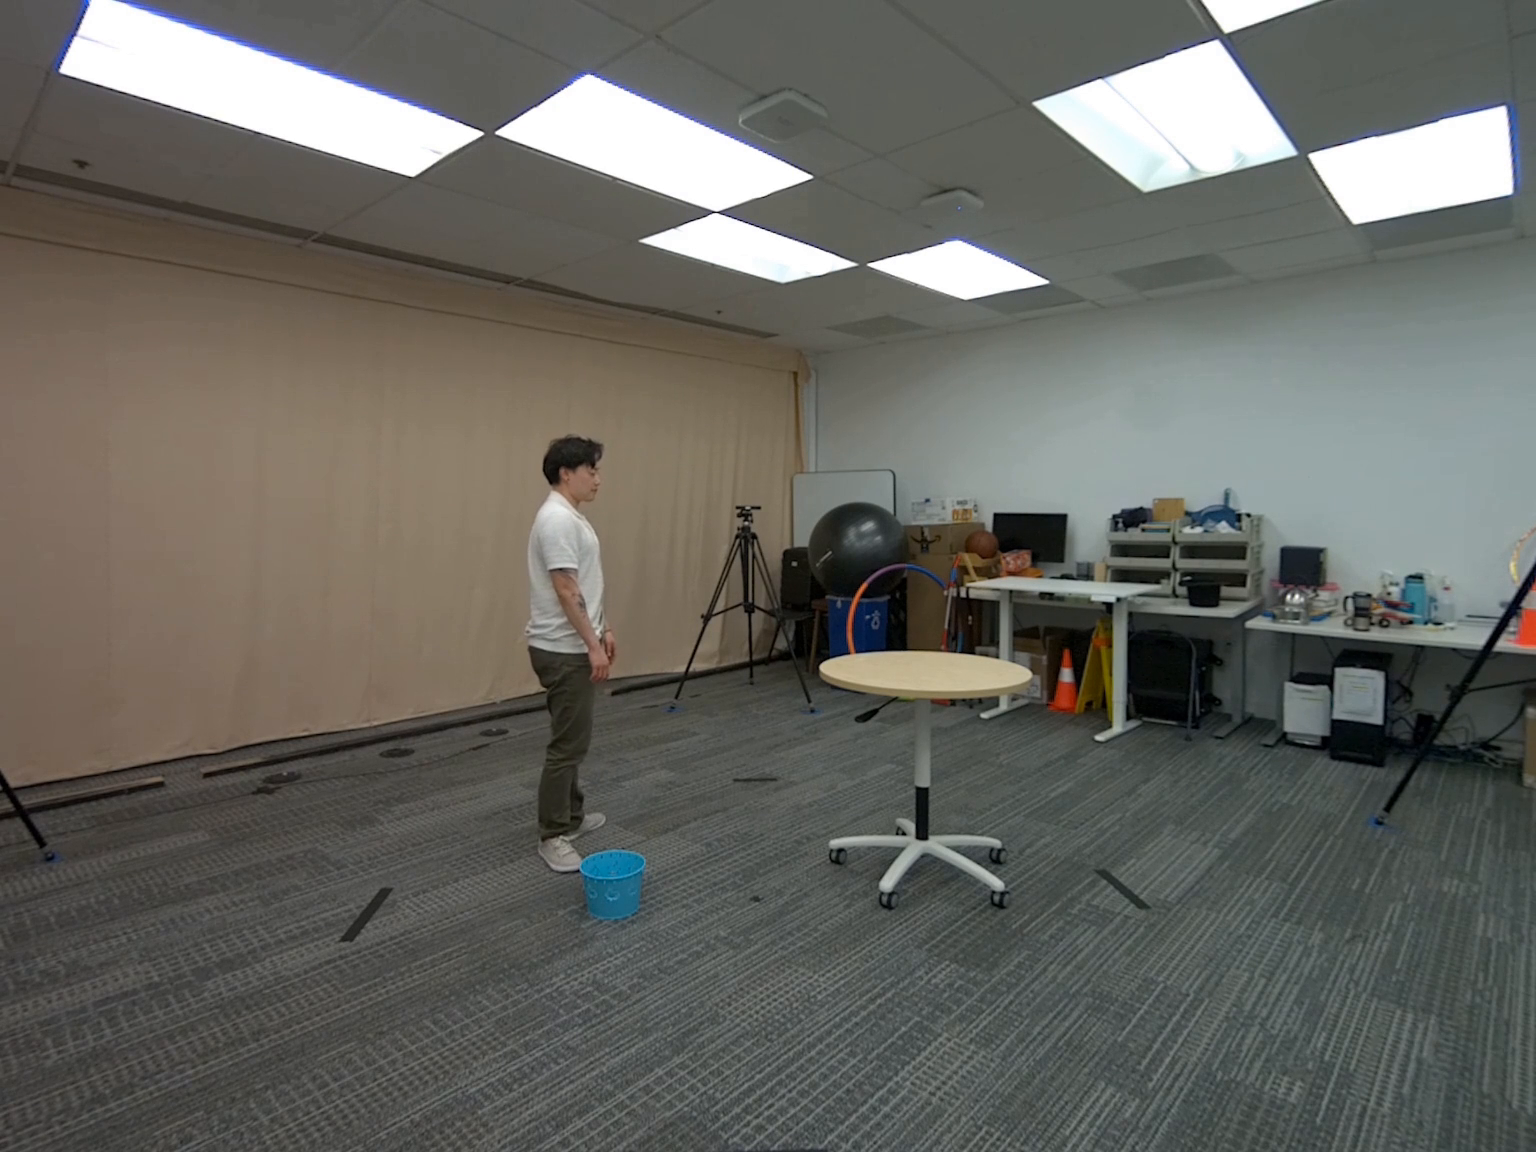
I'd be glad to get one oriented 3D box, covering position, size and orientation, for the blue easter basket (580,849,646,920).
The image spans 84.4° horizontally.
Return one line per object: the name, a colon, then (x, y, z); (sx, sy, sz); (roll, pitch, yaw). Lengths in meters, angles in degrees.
blue easter basket: (-0.533, 1.076, 2.927); (0.243, 0.155, 0.244); (0, 4, -2)
